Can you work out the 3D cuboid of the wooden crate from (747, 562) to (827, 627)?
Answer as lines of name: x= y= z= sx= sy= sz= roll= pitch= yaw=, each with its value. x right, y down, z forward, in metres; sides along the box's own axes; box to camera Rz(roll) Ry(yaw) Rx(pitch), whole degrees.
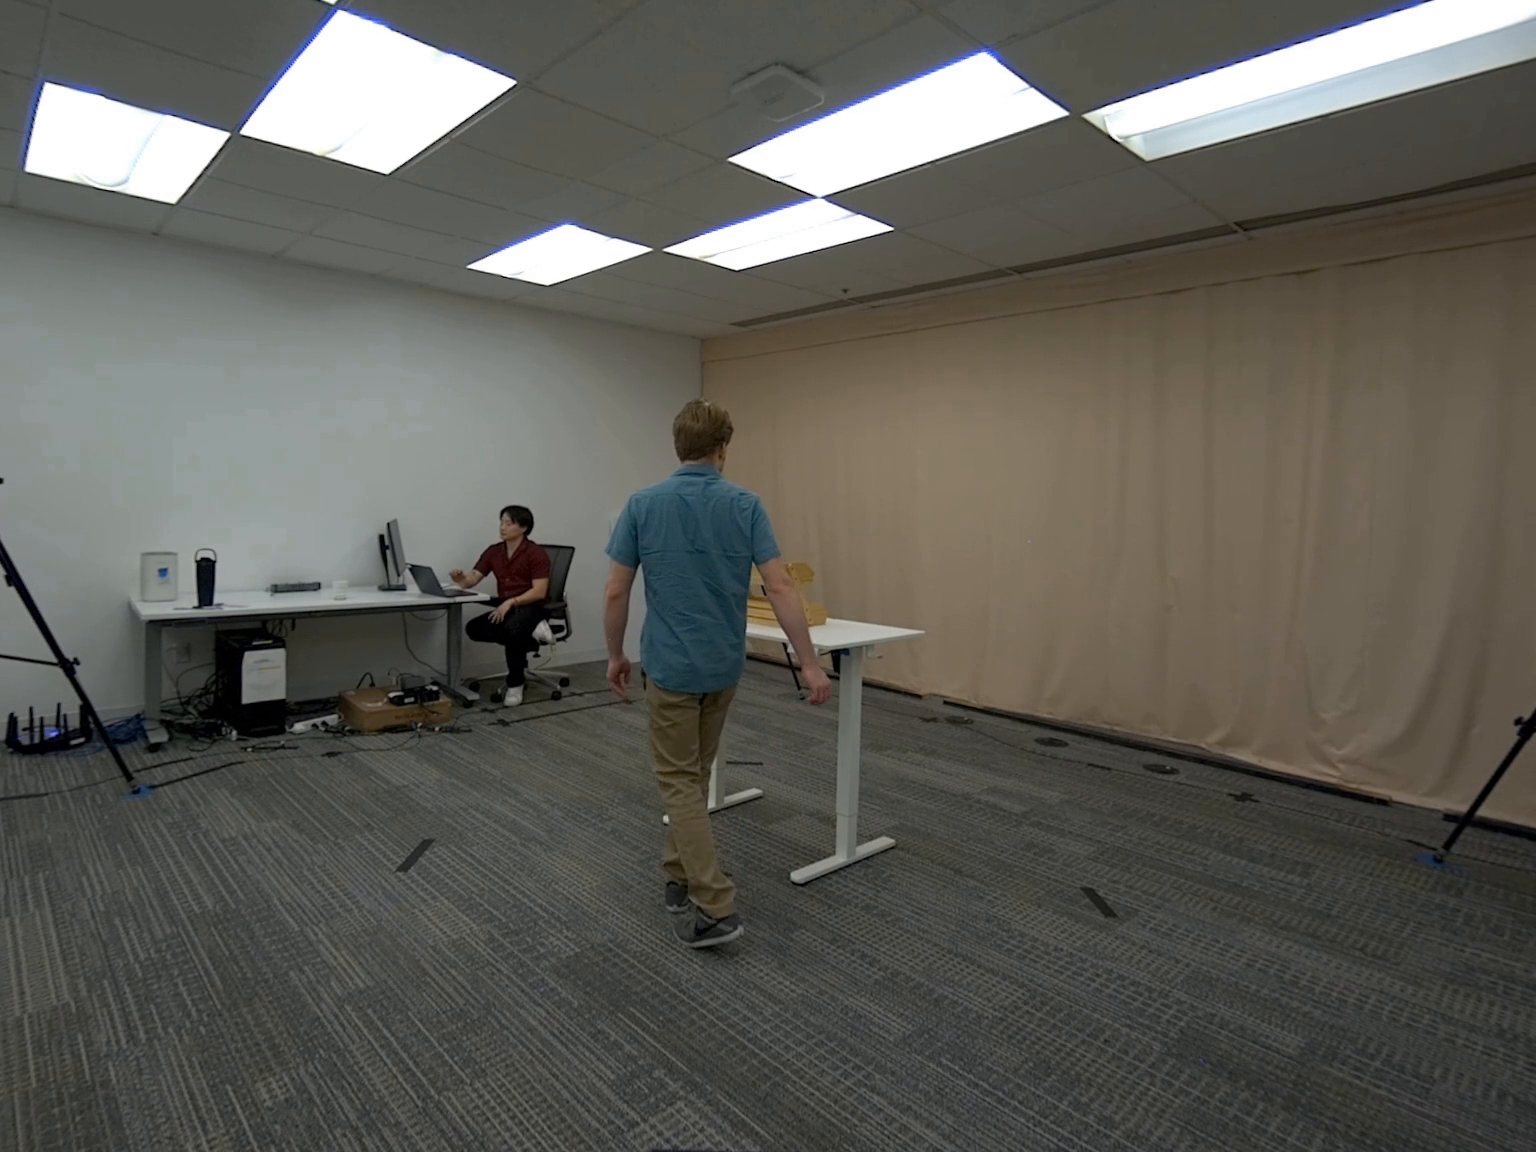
wooden crate: x=0.037 y=0.062 z=3.477 sx=0.295 sy=0.272 sz=0.333 roll=-3 pitch=5 yaw=-44
